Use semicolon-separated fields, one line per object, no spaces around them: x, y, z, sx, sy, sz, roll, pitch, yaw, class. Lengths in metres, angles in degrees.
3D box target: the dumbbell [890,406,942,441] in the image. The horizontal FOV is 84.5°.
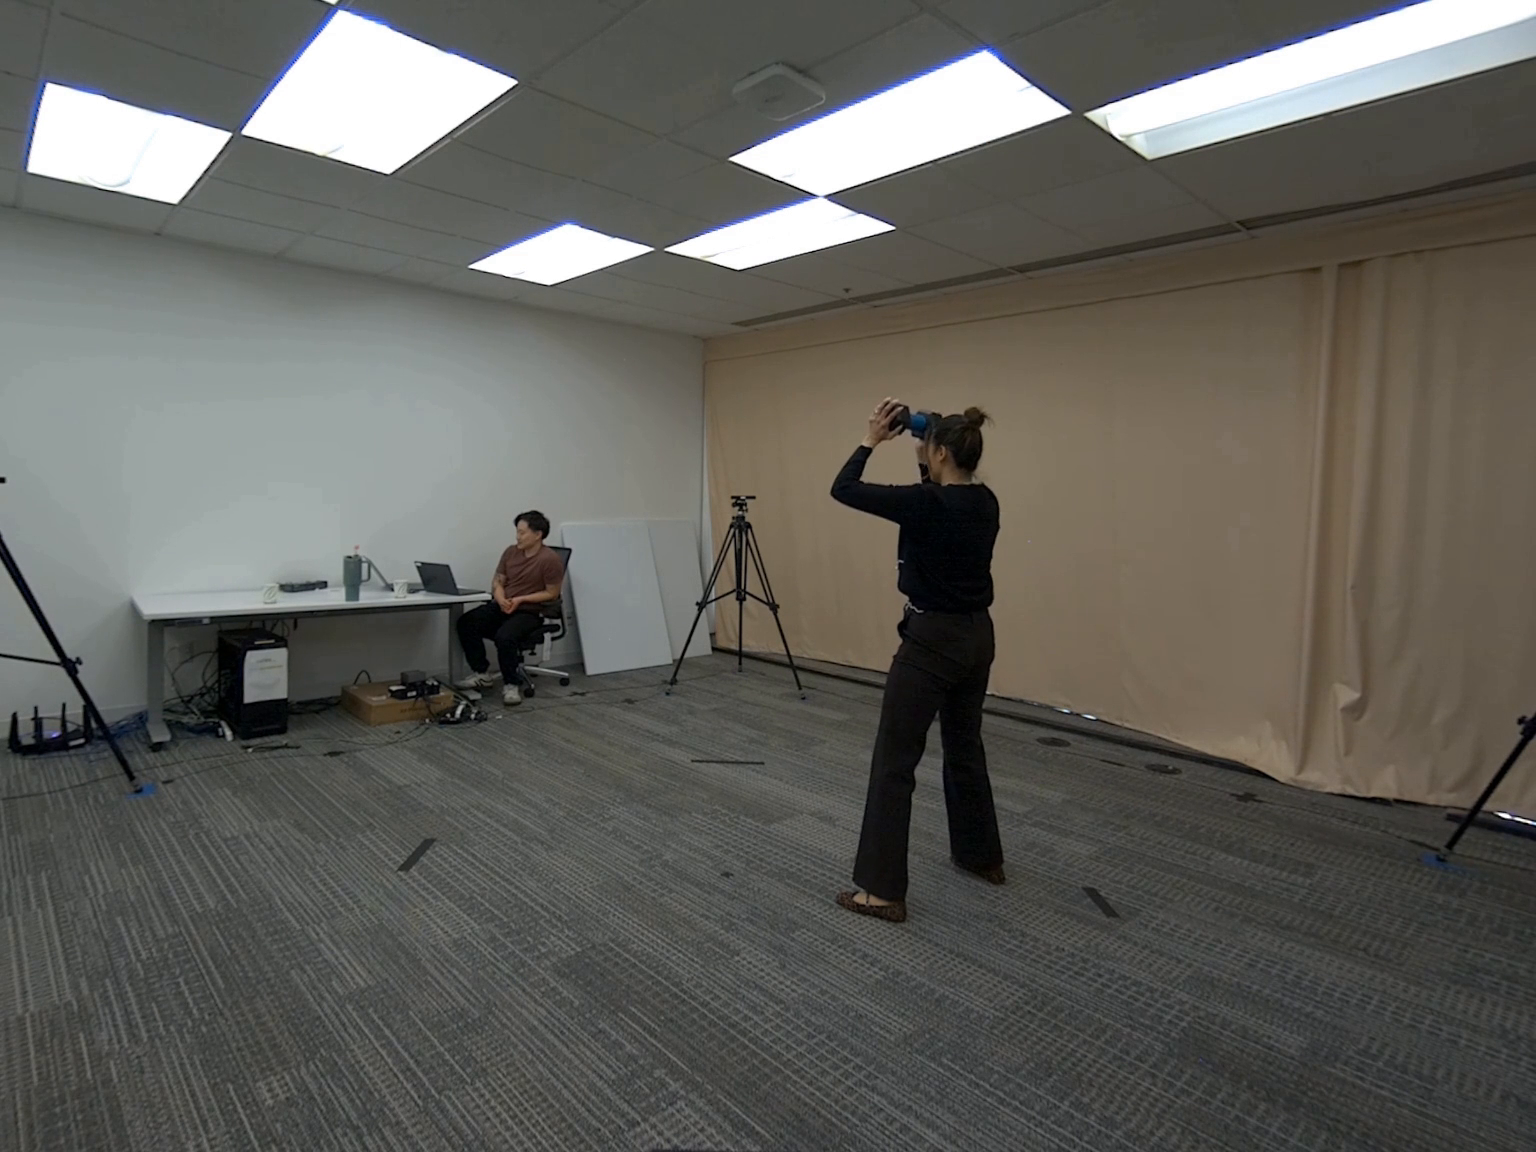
0.519;-0.559;3.079;0.286;0.111;0.123;0;-38;-43;dumbbell
